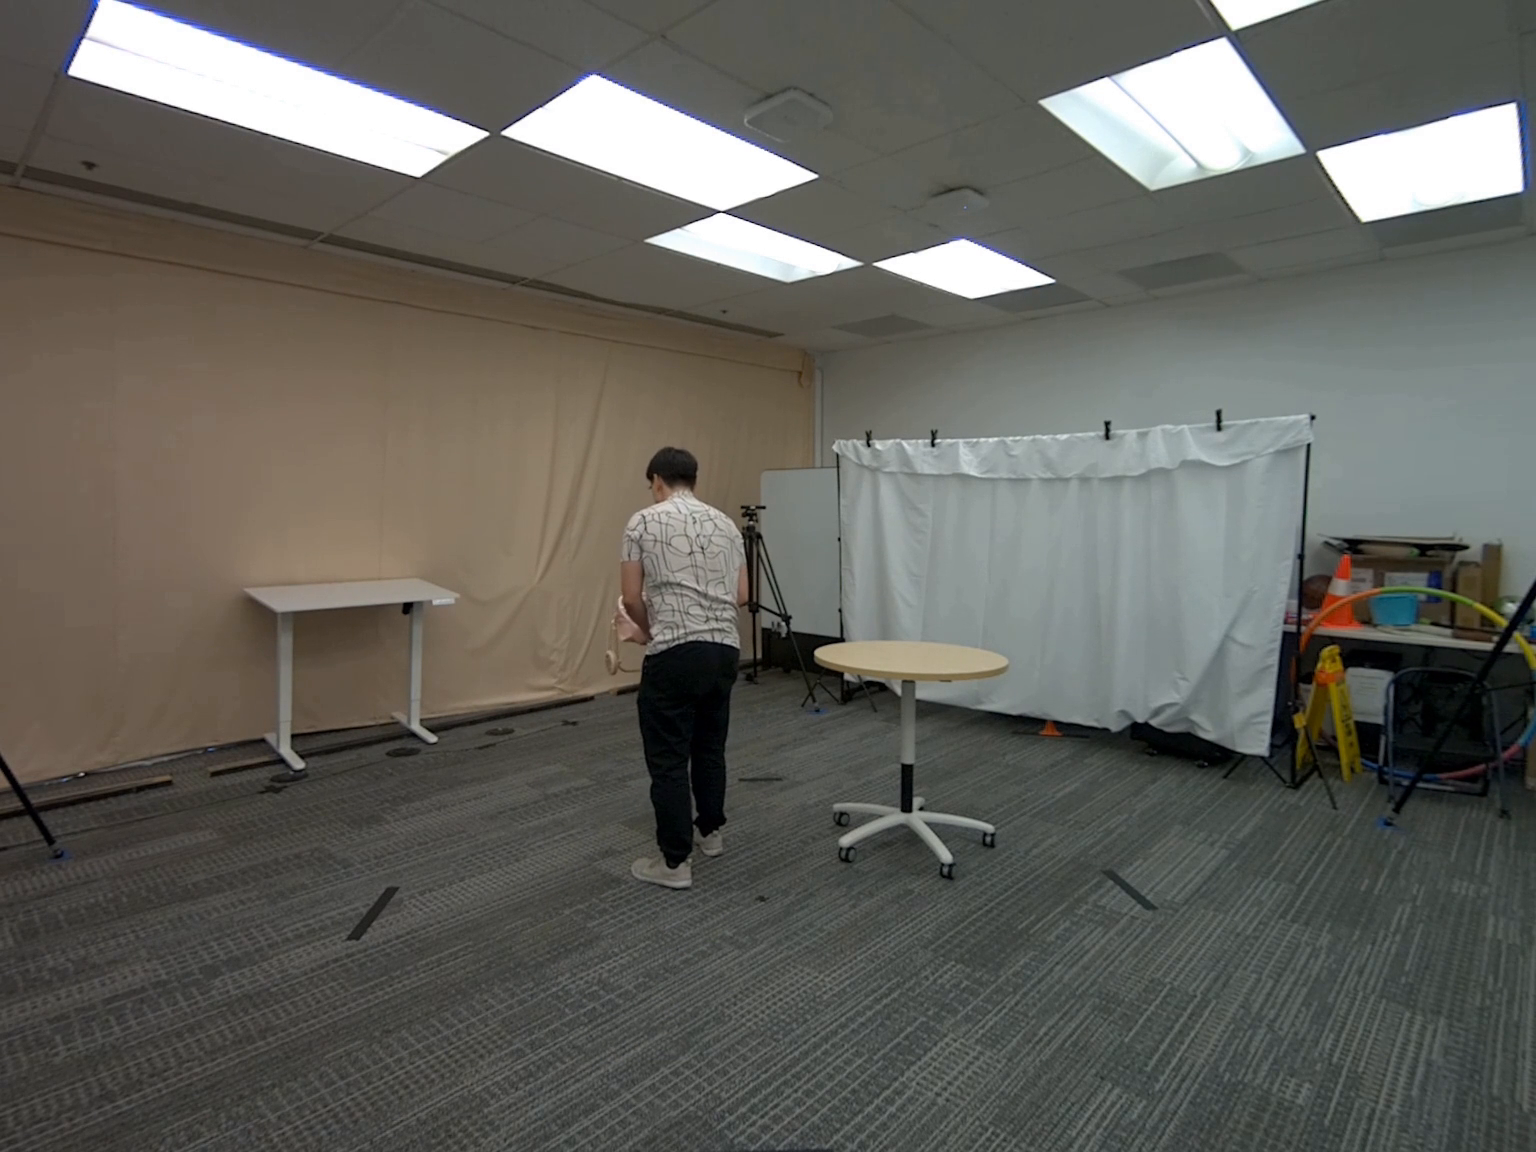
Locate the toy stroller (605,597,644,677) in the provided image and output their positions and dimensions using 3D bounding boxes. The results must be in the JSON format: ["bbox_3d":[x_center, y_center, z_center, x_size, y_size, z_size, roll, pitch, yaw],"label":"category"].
[{"bbox_3d":[-0.542,0.222,3.671,0.275,0.347,0.539,2,-25,-25],"label":"toy stroller"}]
